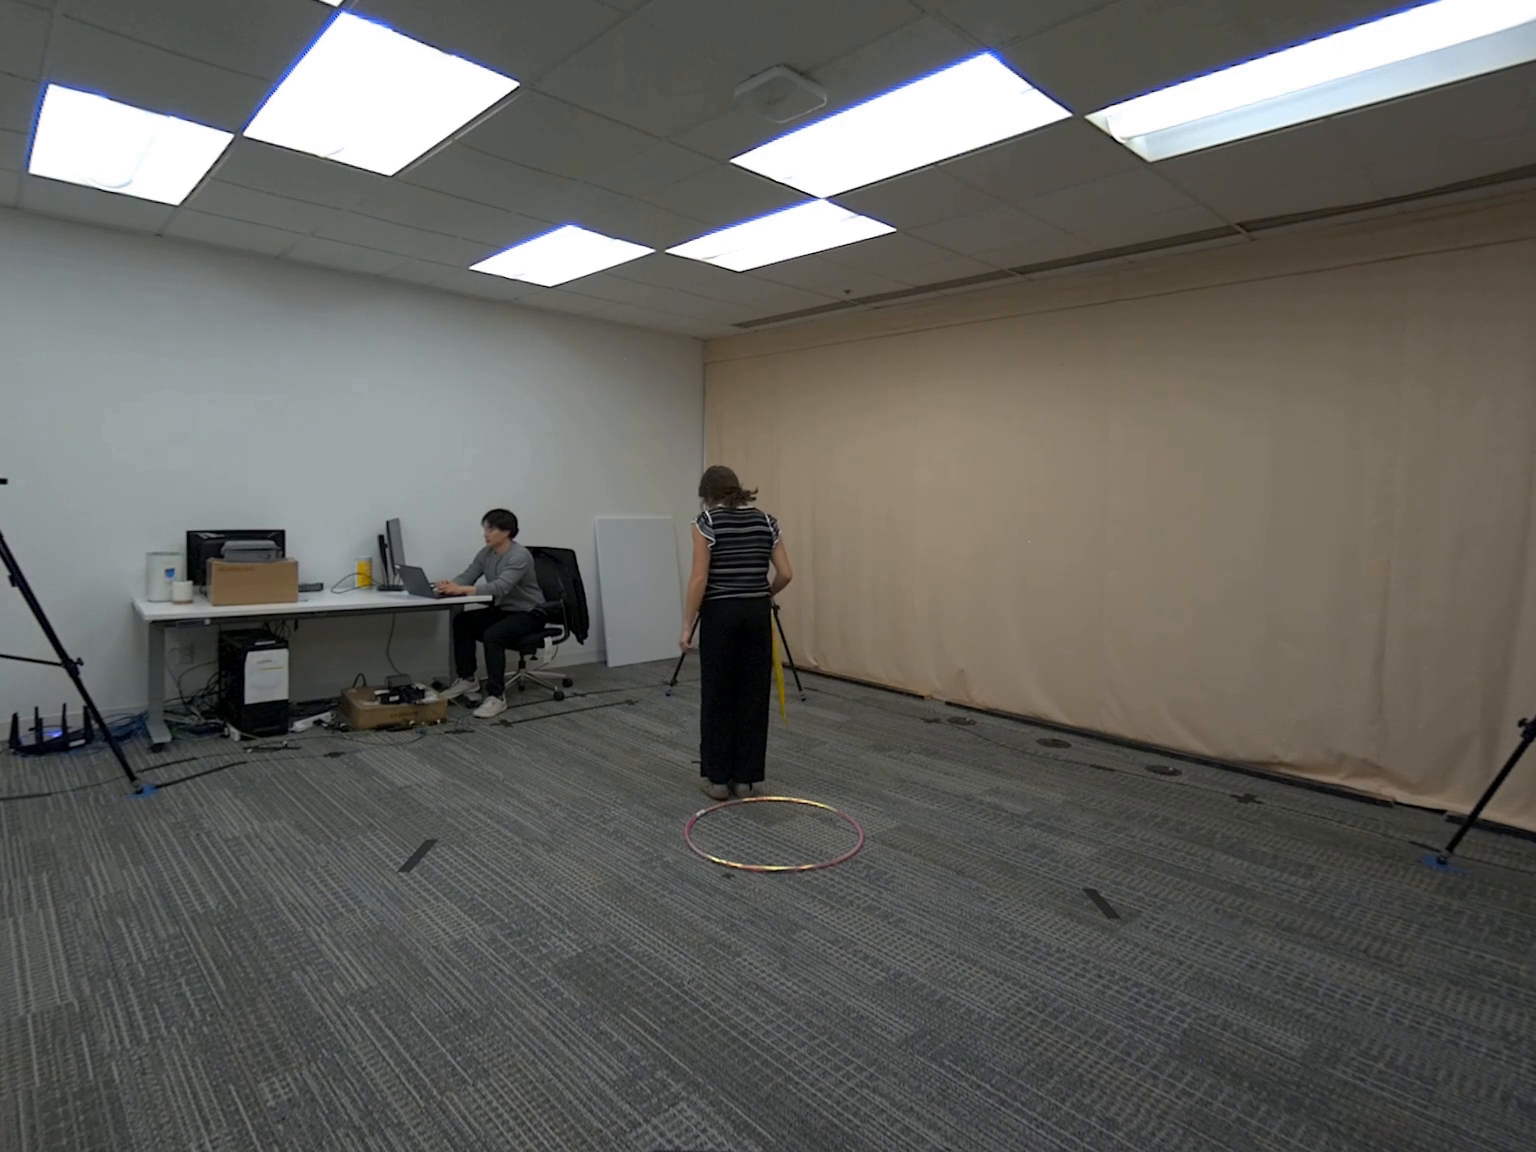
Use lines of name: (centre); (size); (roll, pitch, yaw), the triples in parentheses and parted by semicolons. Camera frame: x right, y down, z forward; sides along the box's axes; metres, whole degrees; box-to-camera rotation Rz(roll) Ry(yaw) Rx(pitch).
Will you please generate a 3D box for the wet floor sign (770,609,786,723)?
wet floor sign: (-0.039, 0.405, 4.311); (0.290, 0.637, 0.286); (2, 20, 0)
